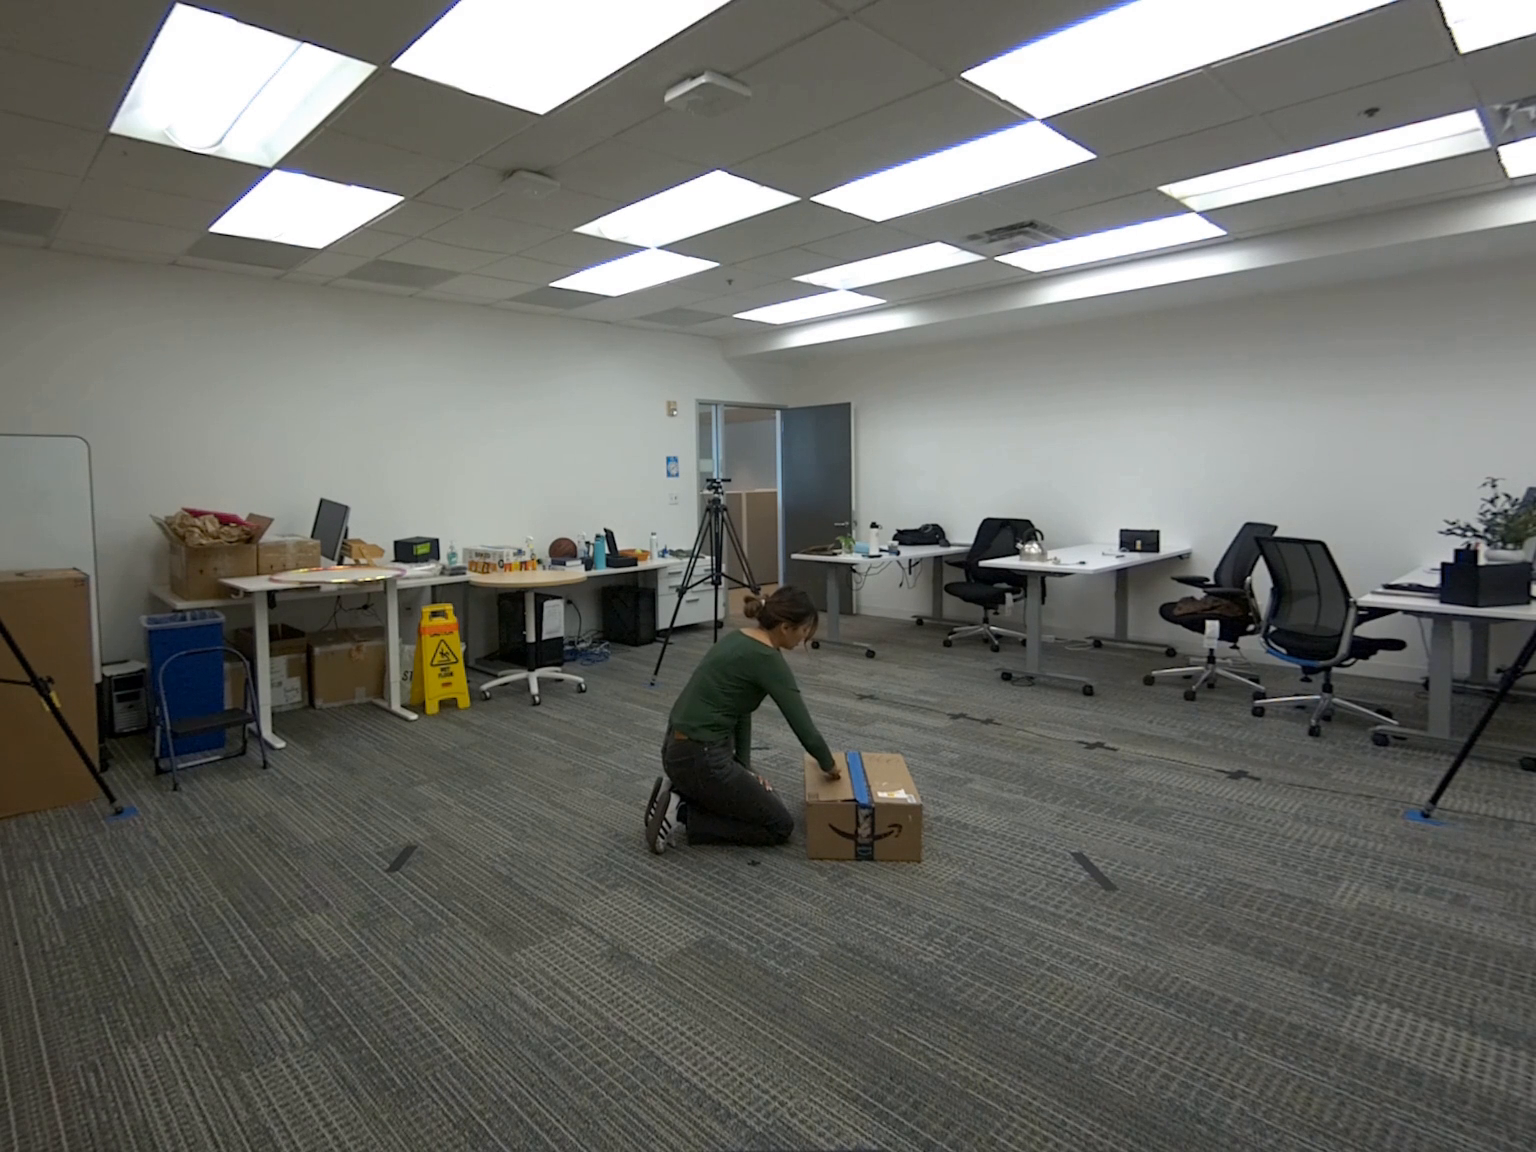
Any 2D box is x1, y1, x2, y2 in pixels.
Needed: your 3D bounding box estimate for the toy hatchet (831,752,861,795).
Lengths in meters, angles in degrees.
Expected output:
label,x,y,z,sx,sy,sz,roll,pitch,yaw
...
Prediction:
label,x,y,z,sx,sy,sz,roll,pitch,yaw
toy hatchet,0.262,0.759,3.449,0.127,0.029,0.278,43,1,-27
